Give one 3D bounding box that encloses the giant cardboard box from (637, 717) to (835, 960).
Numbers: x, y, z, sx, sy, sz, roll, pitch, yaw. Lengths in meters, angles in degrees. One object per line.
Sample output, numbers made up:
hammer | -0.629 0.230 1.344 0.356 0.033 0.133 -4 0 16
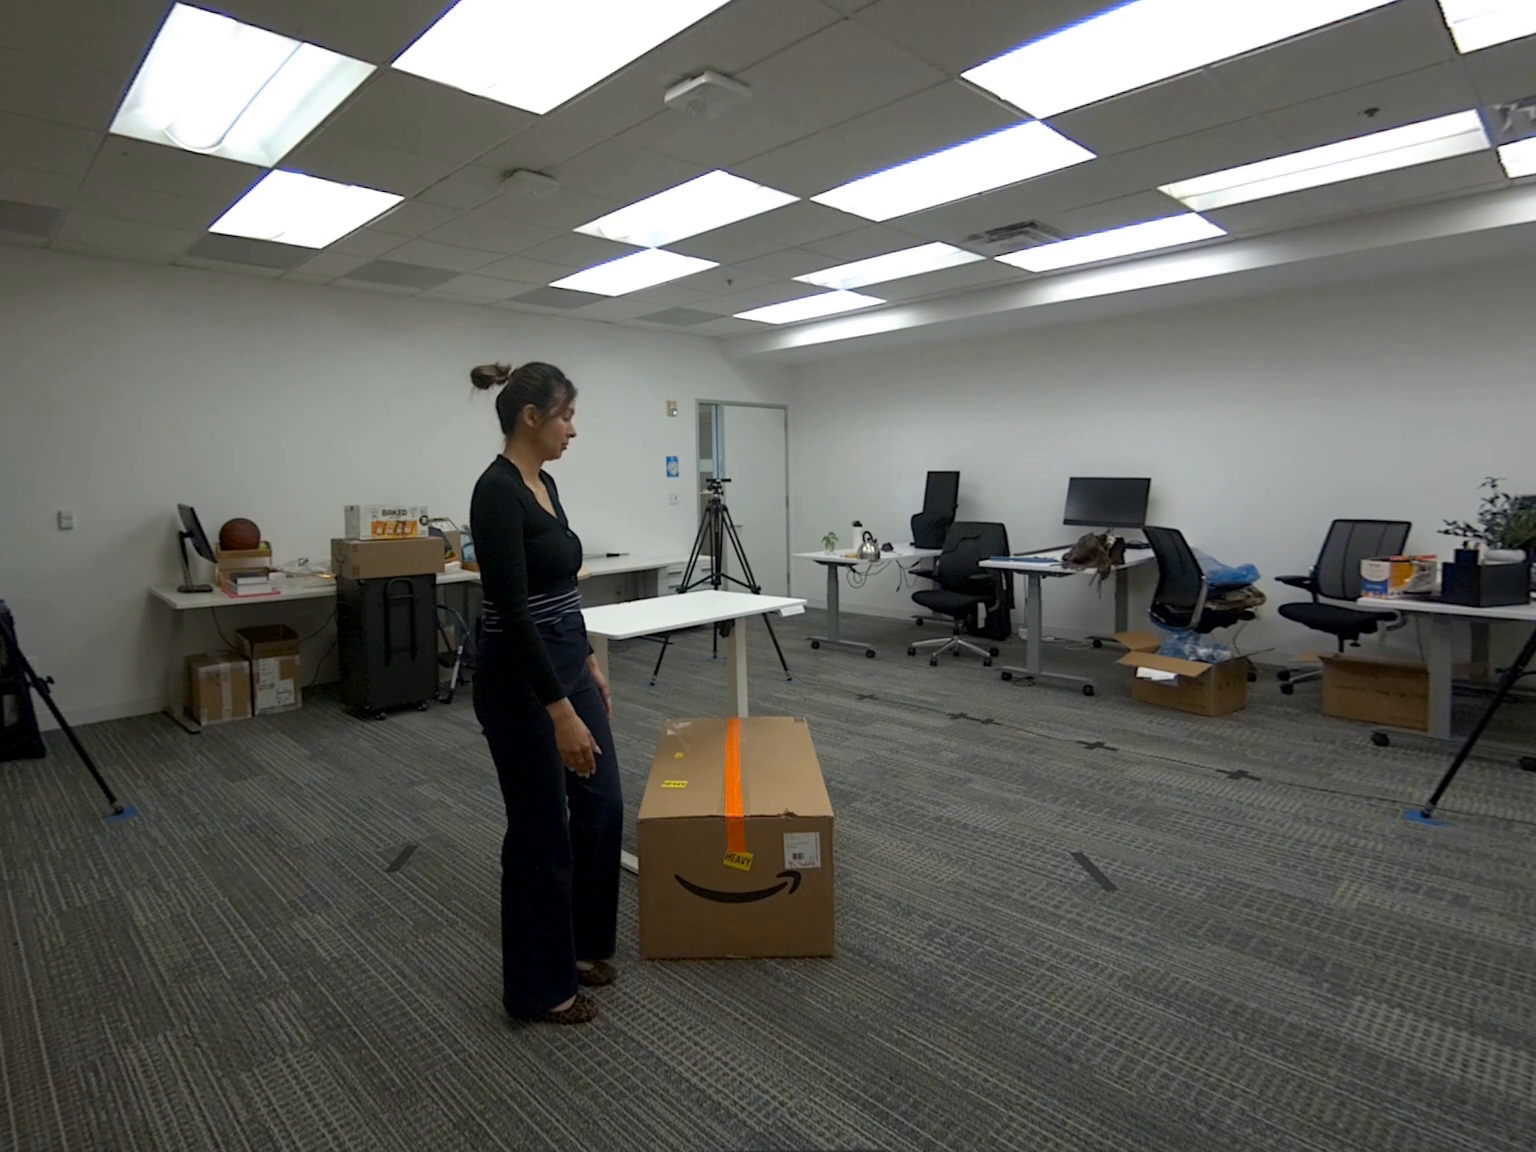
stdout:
giant cardboard box | -0.107 0.844 2.983 0.577 0.424 1.031 -2 6 -2
